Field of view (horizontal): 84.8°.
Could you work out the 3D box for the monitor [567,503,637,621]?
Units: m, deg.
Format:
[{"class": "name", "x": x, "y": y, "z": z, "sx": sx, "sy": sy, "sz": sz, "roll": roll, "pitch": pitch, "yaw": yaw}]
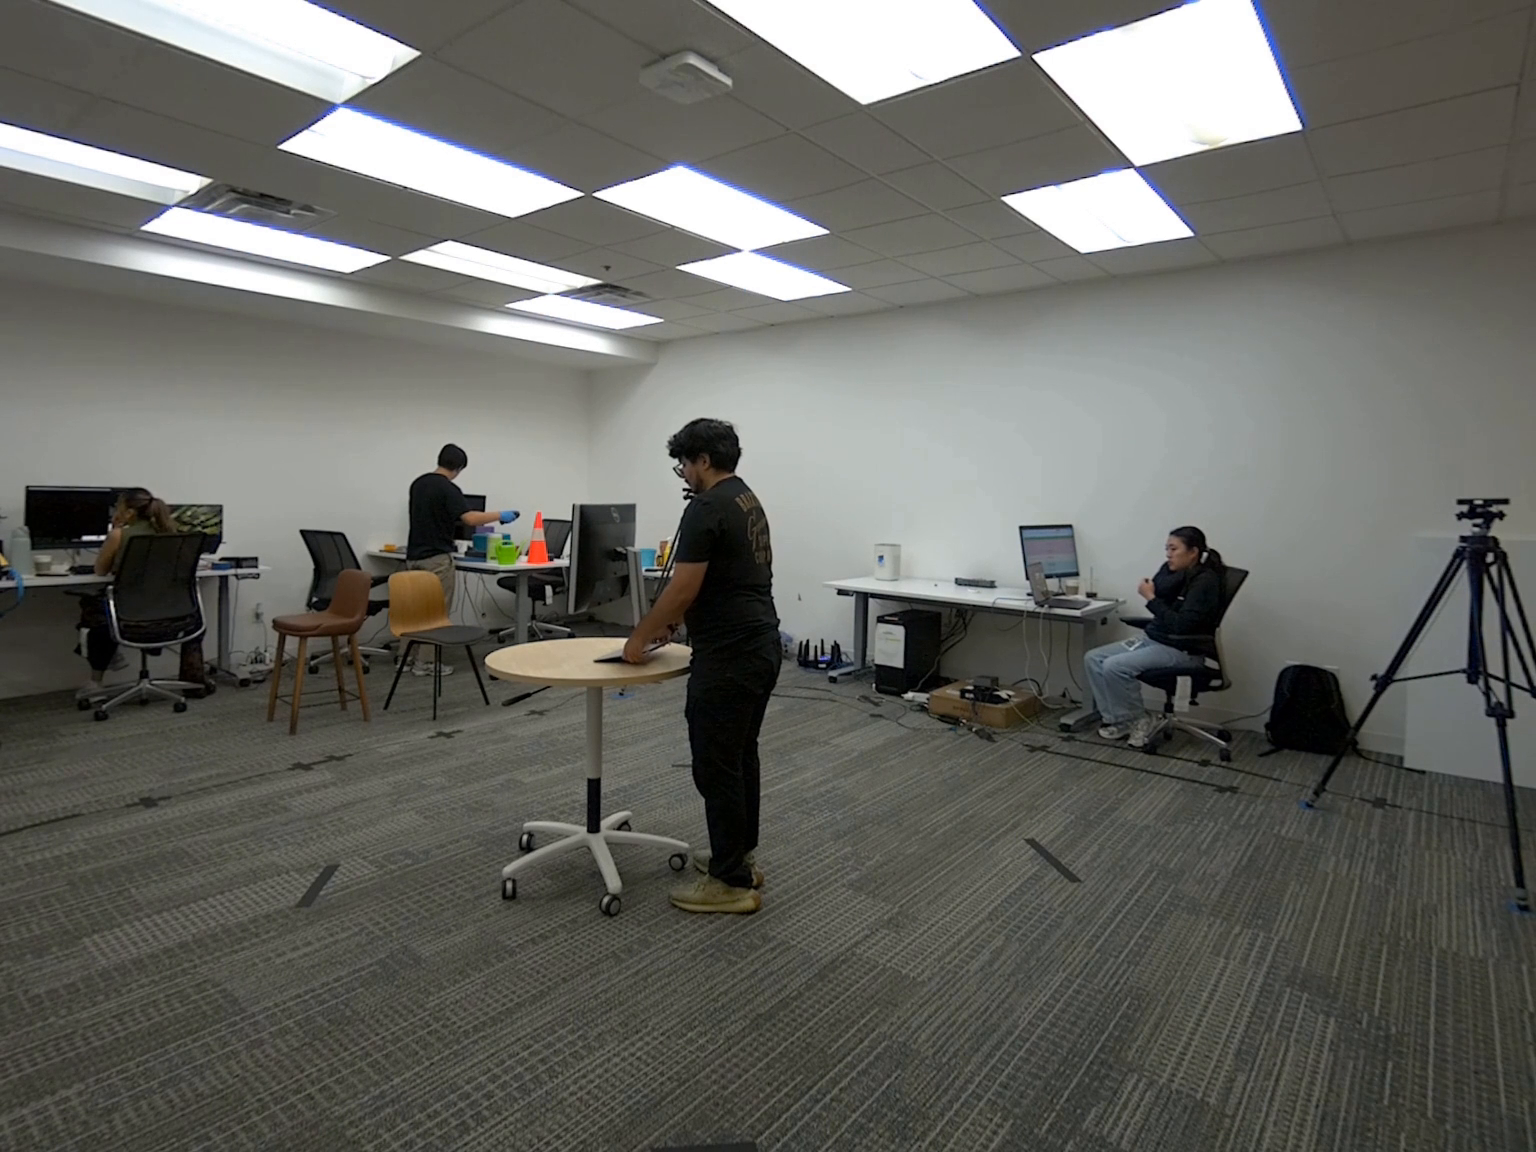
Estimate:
[{"class": "monitor", "x": -0.521, "y": 0.008, "z": 3.030, "sx": 0.213, "sy": 0.553, "sz": 0.559, "roll": -3, "pitch": 3, "yaw": 12}]
